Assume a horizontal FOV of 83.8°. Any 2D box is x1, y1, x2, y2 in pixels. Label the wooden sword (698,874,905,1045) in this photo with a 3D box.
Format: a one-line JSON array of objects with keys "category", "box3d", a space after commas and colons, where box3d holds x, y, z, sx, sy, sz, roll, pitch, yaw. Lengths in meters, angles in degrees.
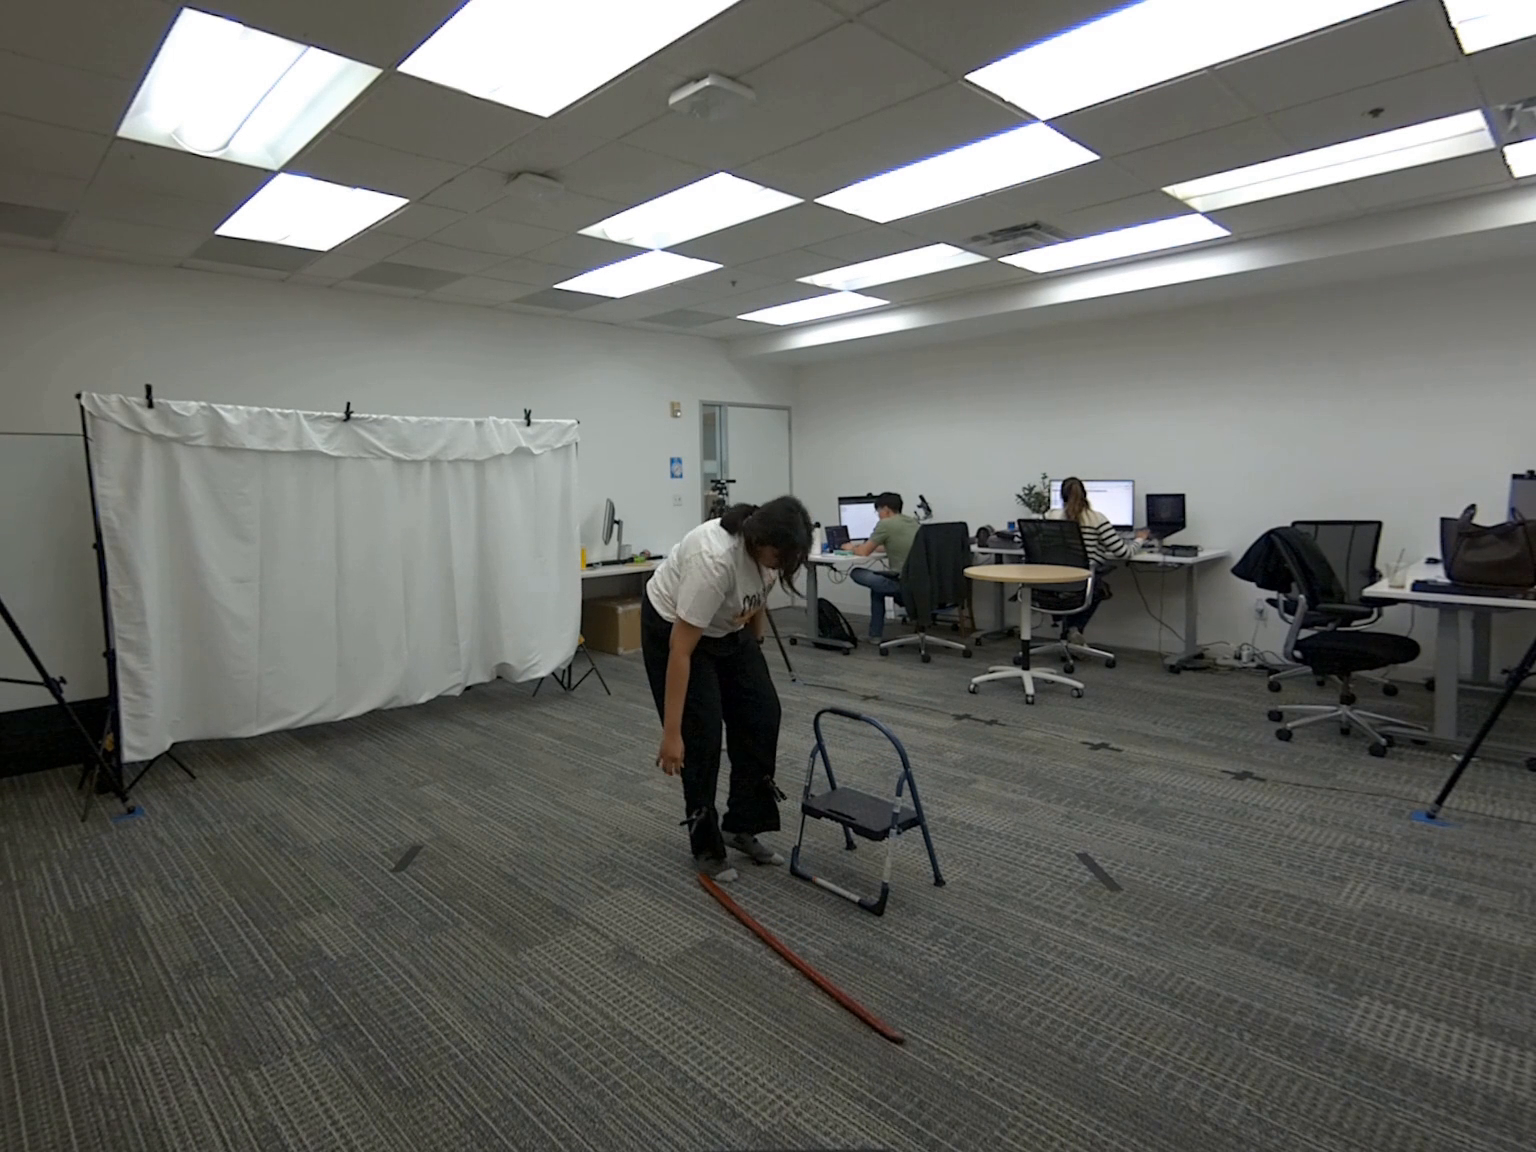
[{"category": "wooden sword", "box3d": [0.043, 1.097, 2.546, 0.050, 0.024, 1.054, 6, 3, -32]}]
